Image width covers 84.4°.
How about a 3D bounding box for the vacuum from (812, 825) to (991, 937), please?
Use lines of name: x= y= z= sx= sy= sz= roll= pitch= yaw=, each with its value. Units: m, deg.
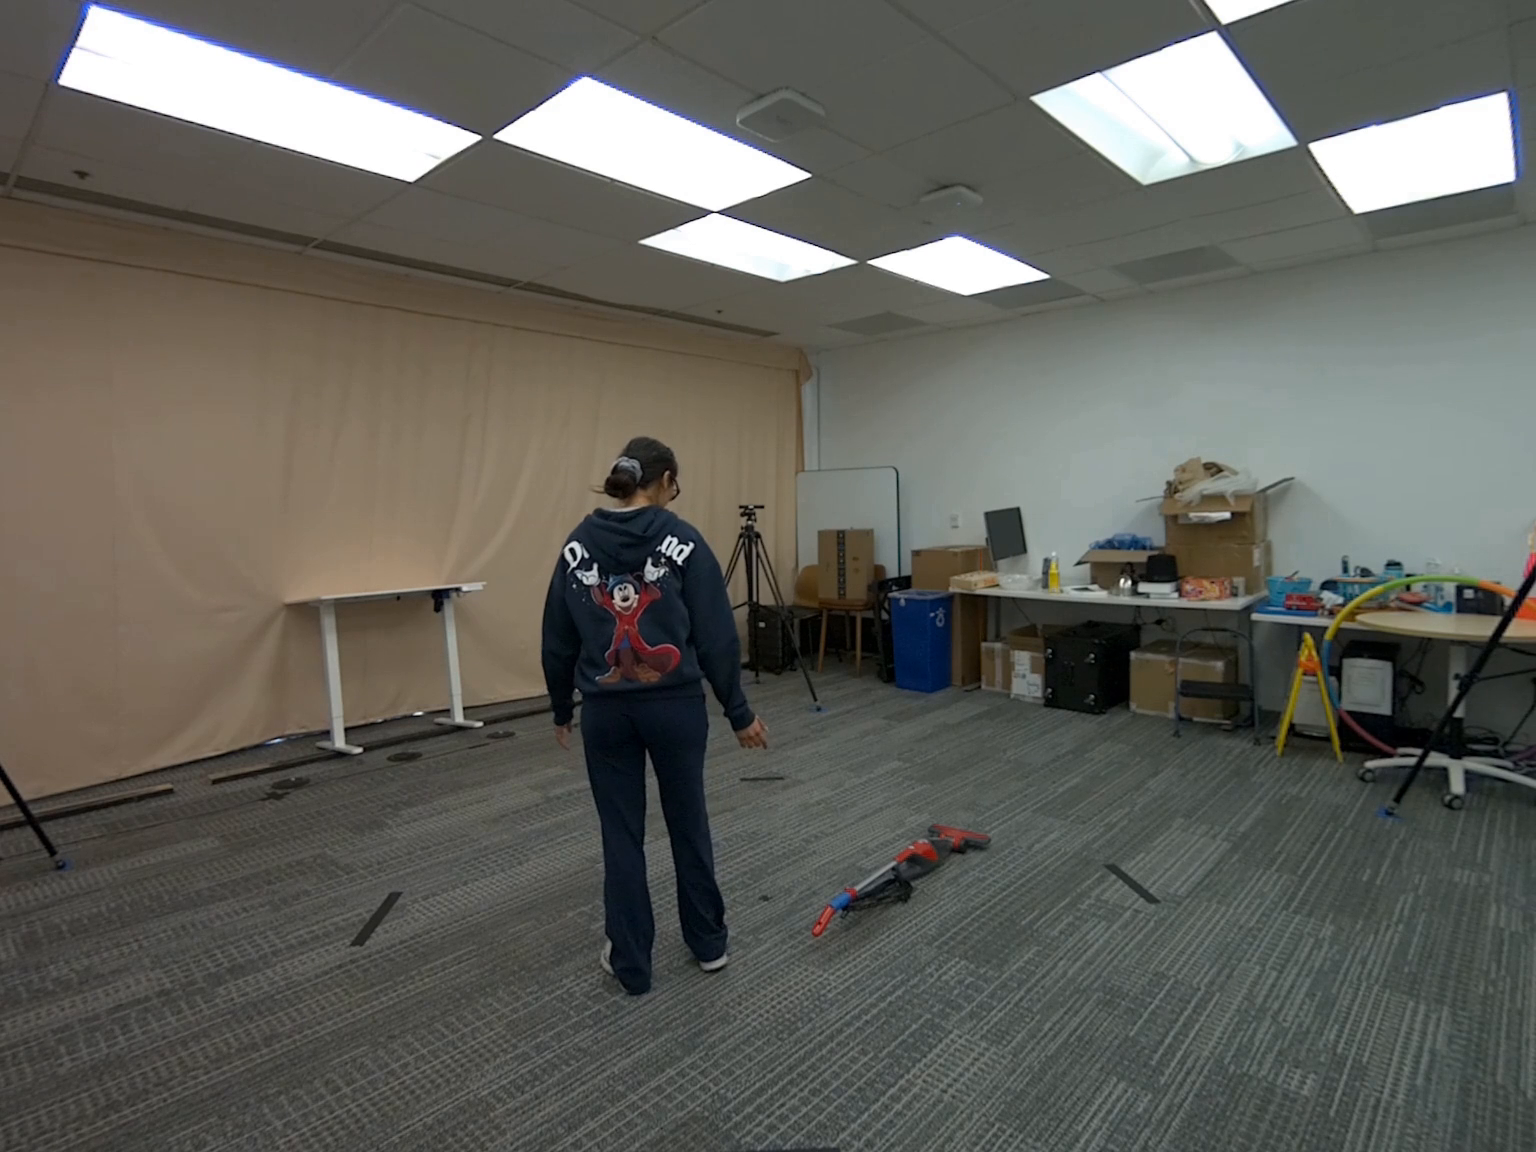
vacuum: x=0.457 y=1.080 z=3.006 sx=0.261 sy=0.143 sz=1.018 roll=6 pitch=6 yaw=36
